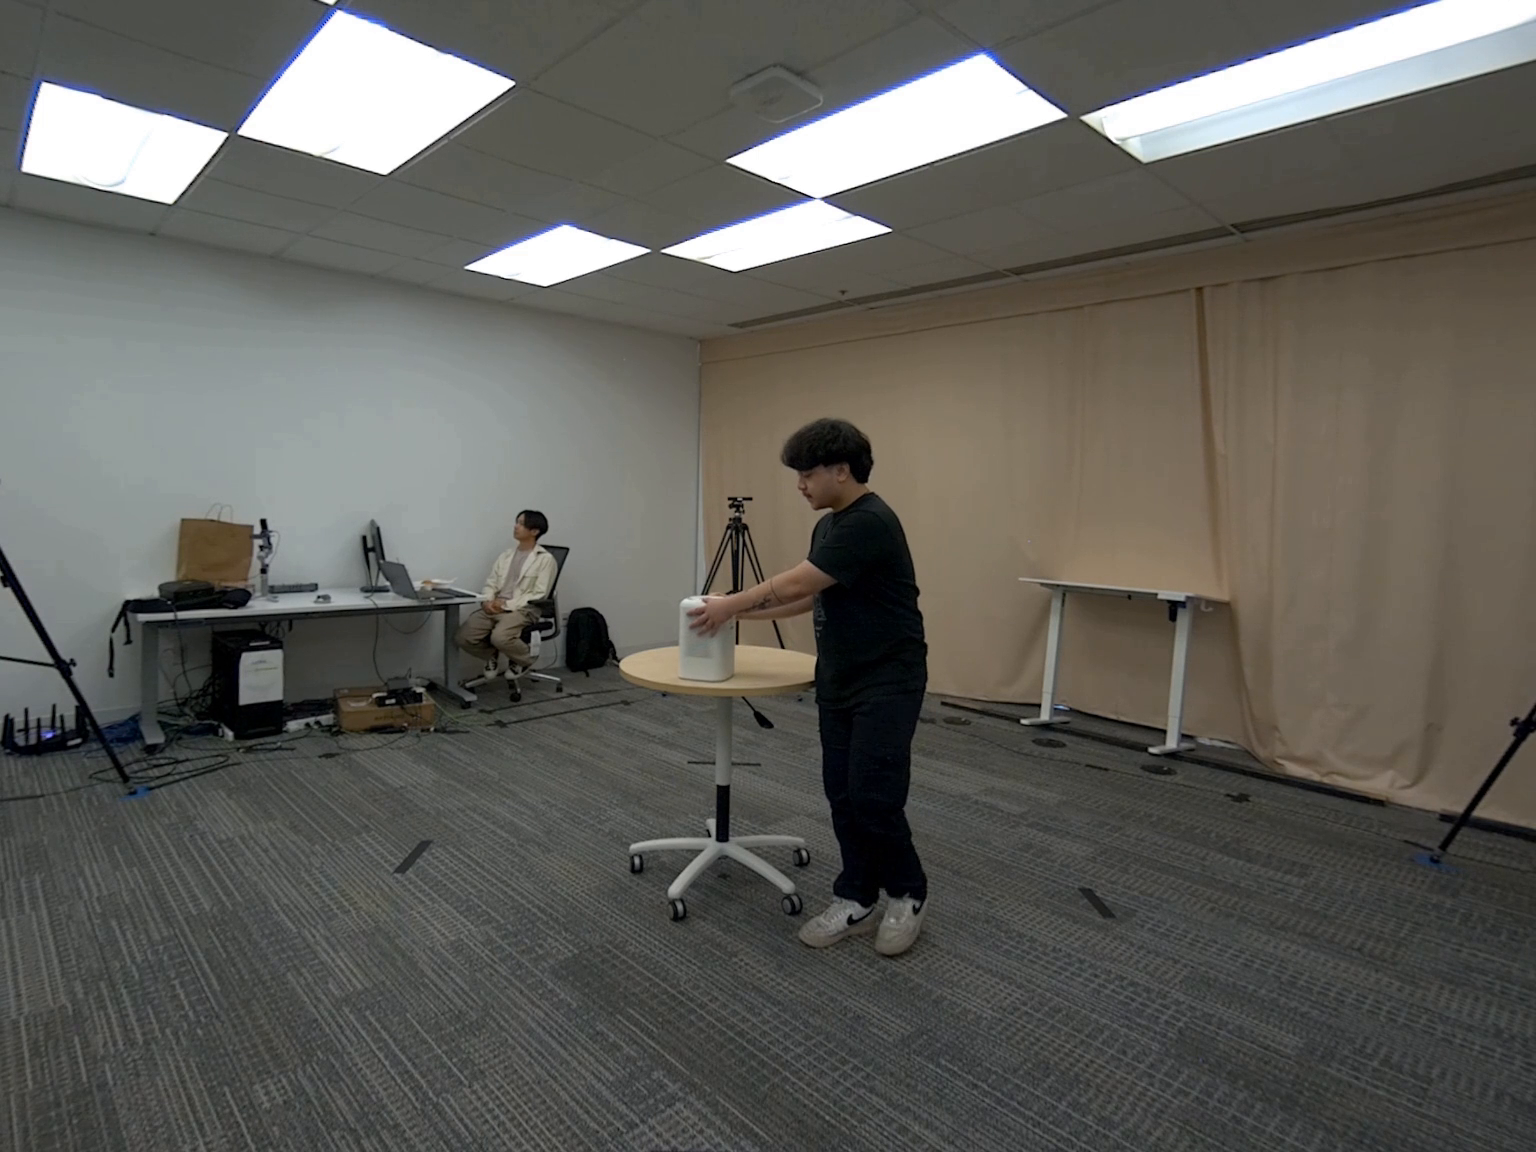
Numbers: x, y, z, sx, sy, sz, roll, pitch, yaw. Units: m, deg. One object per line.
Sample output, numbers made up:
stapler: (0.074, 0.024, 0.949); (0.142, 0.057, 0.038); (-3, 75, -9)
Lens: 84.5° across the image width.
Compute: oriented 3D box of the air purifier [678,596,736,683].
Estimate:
air purifier: (-0.202, 0.206, 2.834); (0.174, 0.264, 0.169); (1, 4, 15)
